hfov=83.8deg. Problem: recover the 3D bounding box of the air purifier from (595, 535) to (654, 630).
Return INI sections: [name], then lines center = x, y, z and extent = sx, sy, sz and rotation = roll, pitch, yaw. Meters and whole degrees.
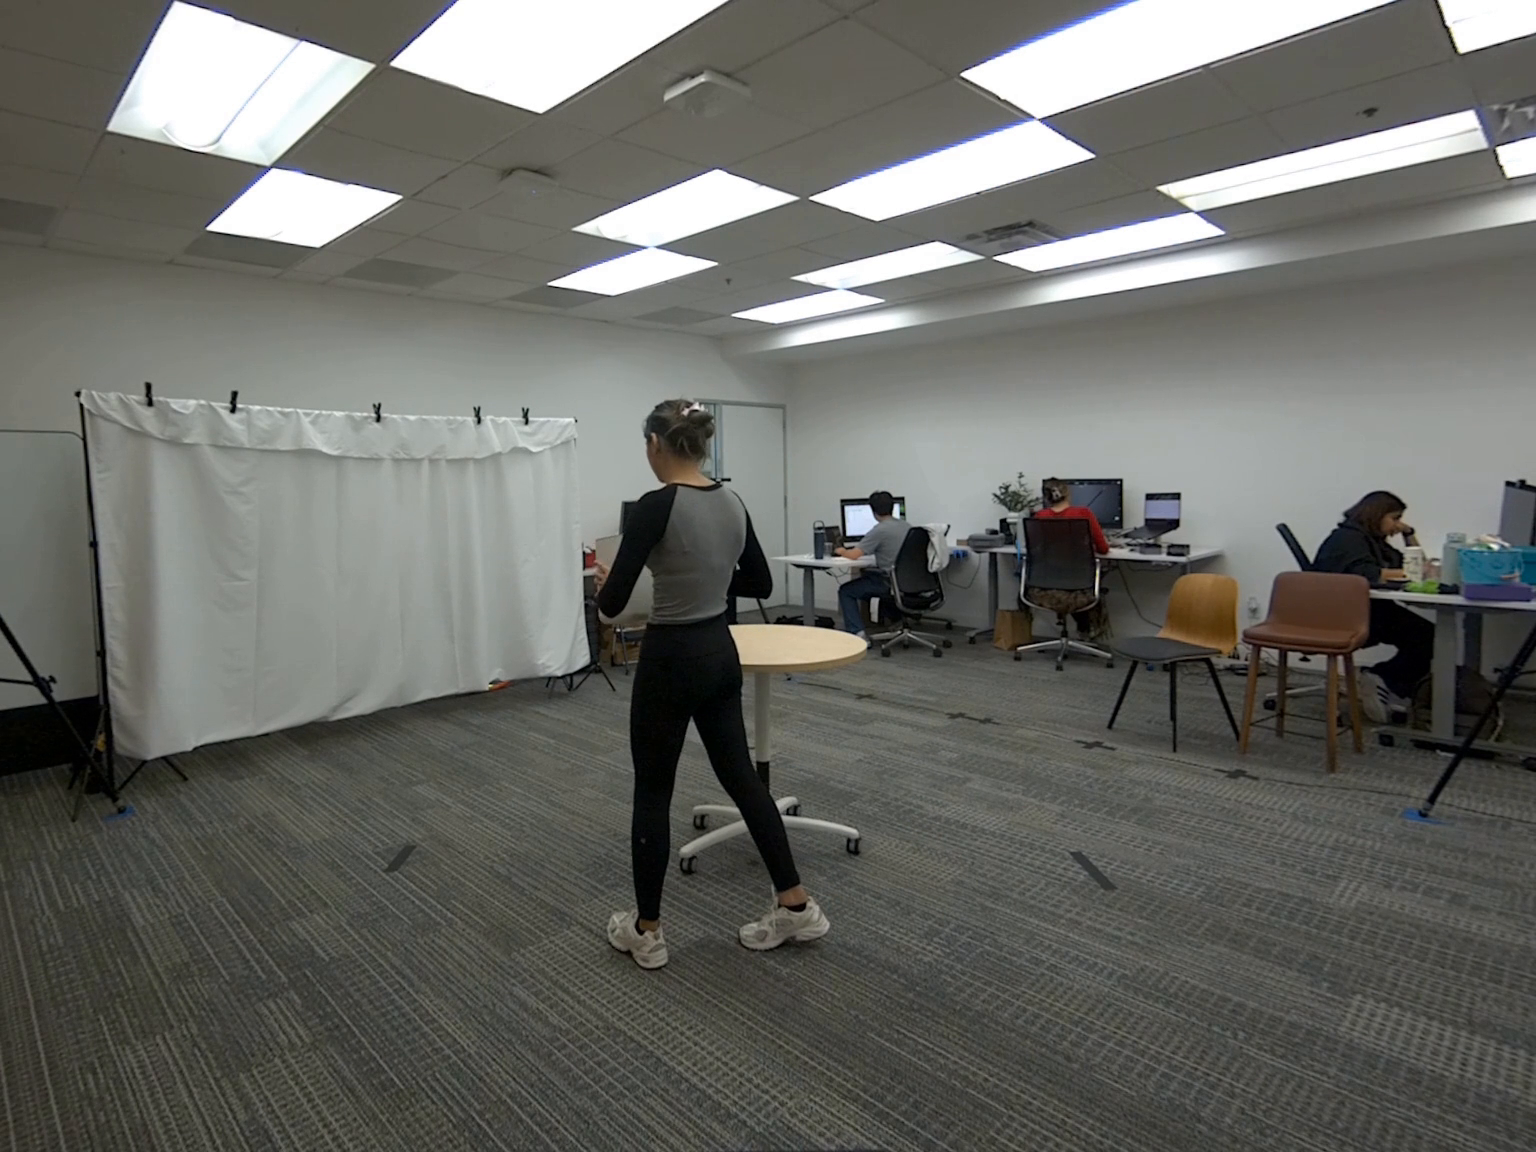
[air purifier]
center = -0.420, 0.010, 2.655
extent = 0.175, 0.267, 0.166
rotation = -9, -9, 38
